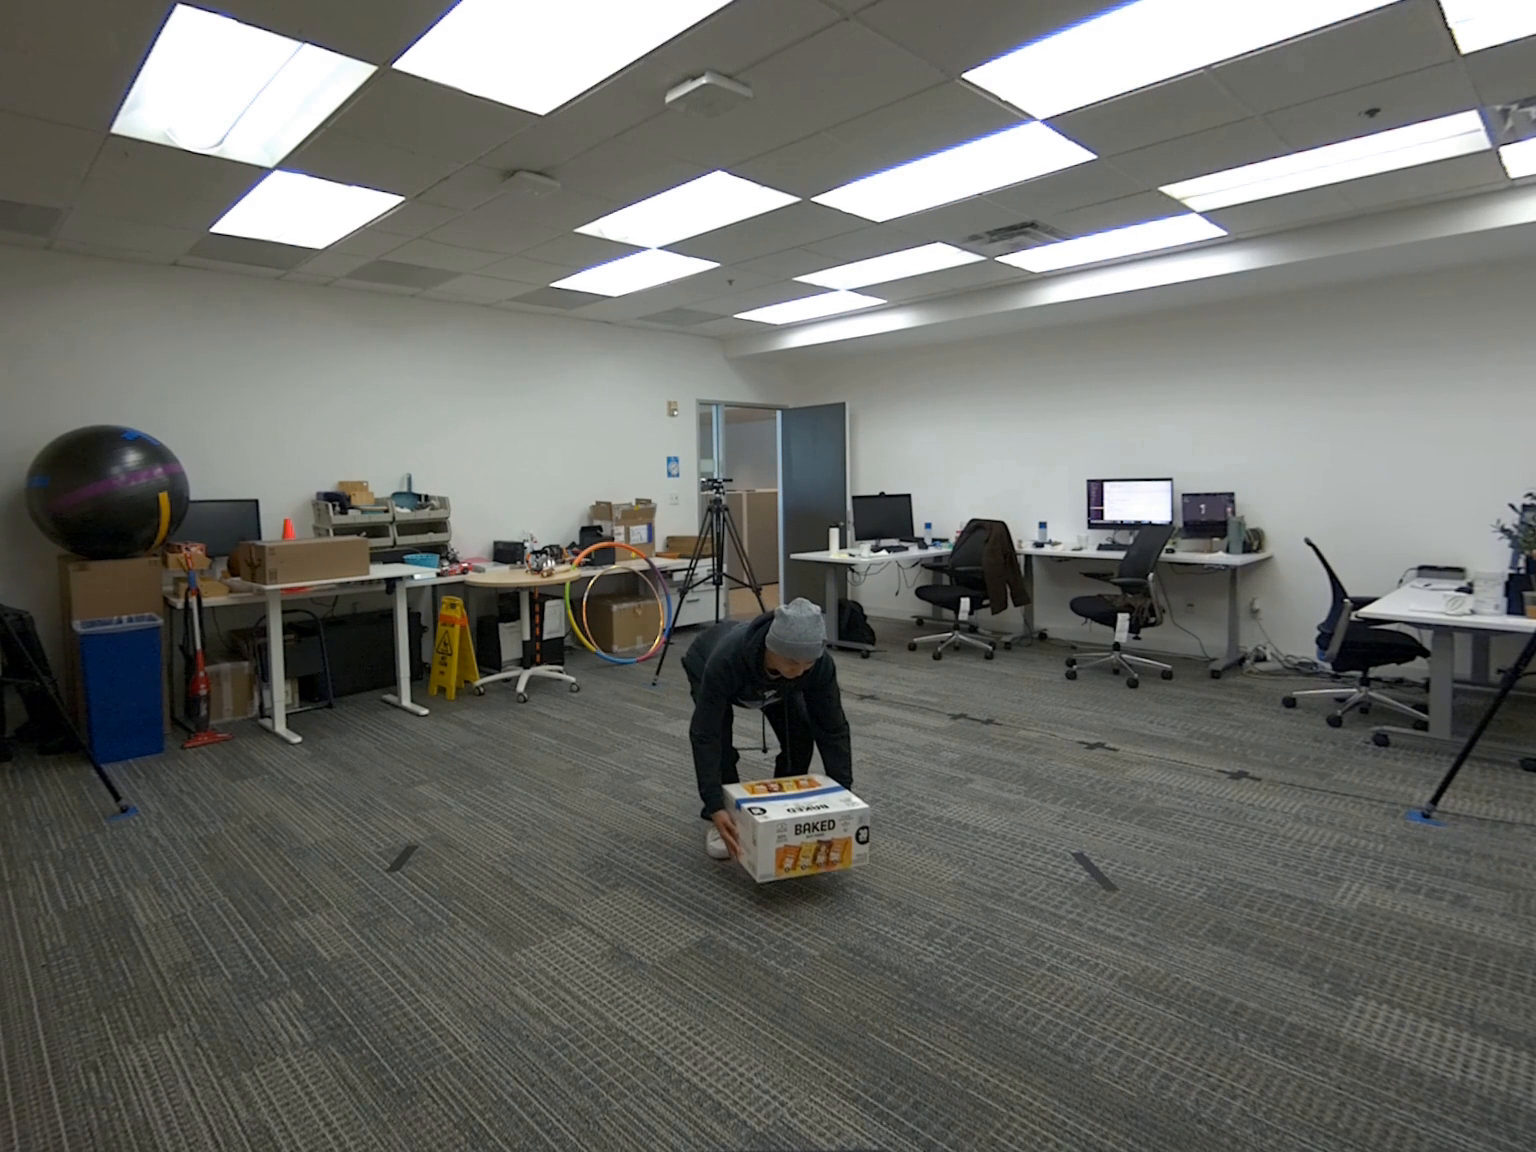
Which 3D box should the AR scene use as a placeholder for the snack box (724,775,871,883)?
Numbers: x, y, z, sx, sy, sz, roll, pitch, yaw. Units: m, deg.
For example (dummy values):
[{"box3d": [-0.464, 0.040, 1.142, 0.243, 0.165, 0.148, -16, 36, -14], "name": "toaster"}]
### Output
[{"box3d": [0.083, 0.854, 2.915, 0.398, 0.205, 0.348, -2, 7, -21], "name": "snack box"}]
